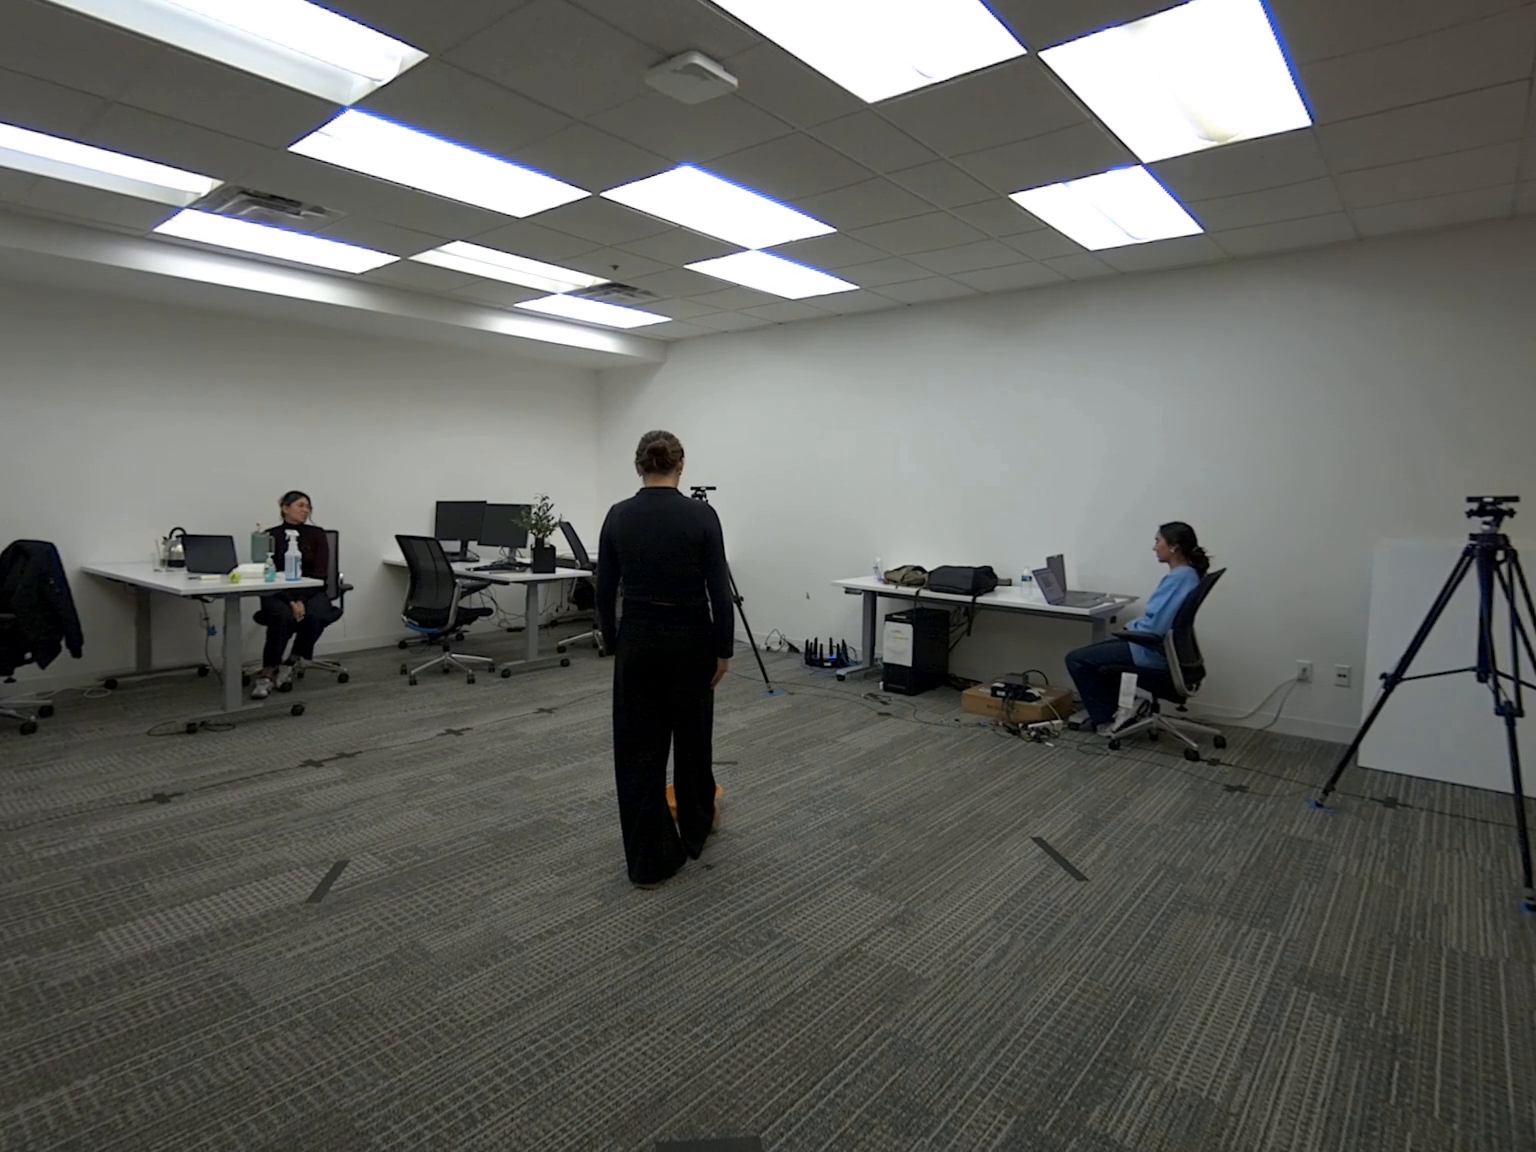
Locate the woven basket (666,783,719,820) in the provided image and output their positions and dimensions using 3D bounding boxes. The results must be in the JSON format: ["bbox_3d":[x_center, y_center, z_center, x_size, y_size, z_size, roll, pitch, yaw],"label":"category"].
[{"bbox_3d":[-0.342,0.960,3.678,0.259,0.073,0.343,4,6,22],"label":"woven basket"}]
